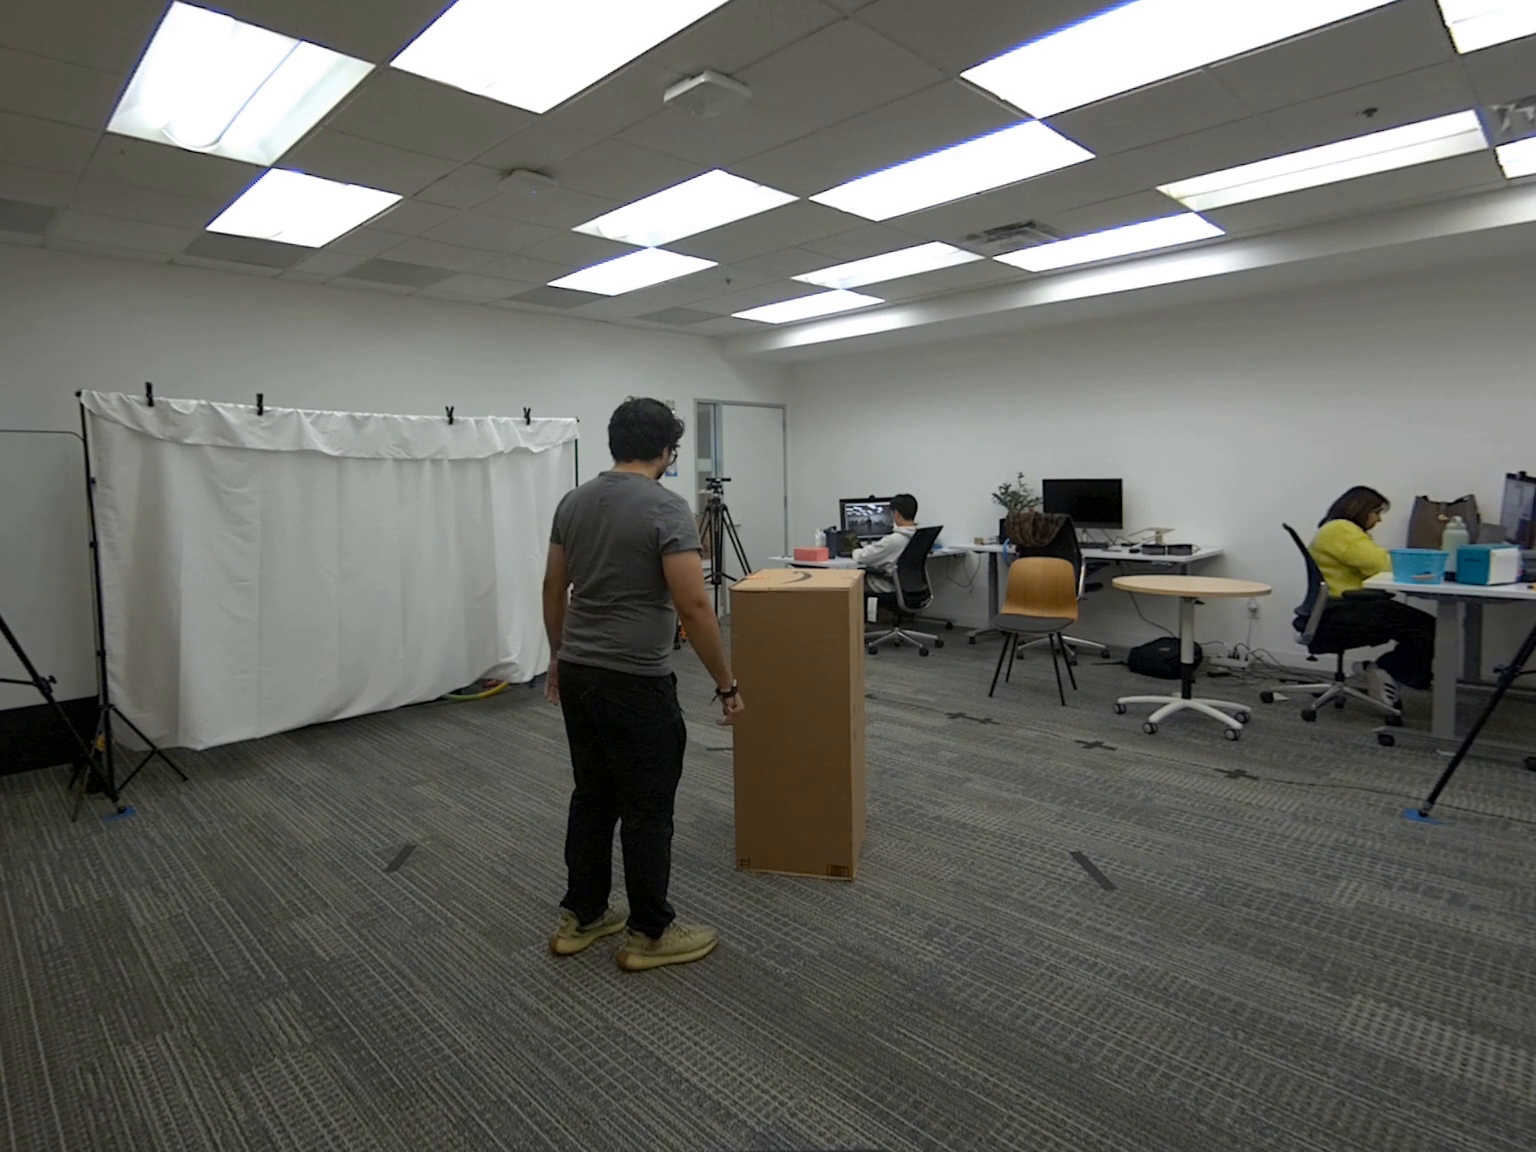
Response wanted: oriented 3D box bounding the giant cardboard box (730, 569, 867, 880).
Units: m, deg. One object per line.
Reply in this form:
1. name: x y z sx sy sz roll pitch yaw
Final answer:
1. giant cardboard box: 0.129 0.513 3.237 0.432 1.022 0.572 0 5 12
